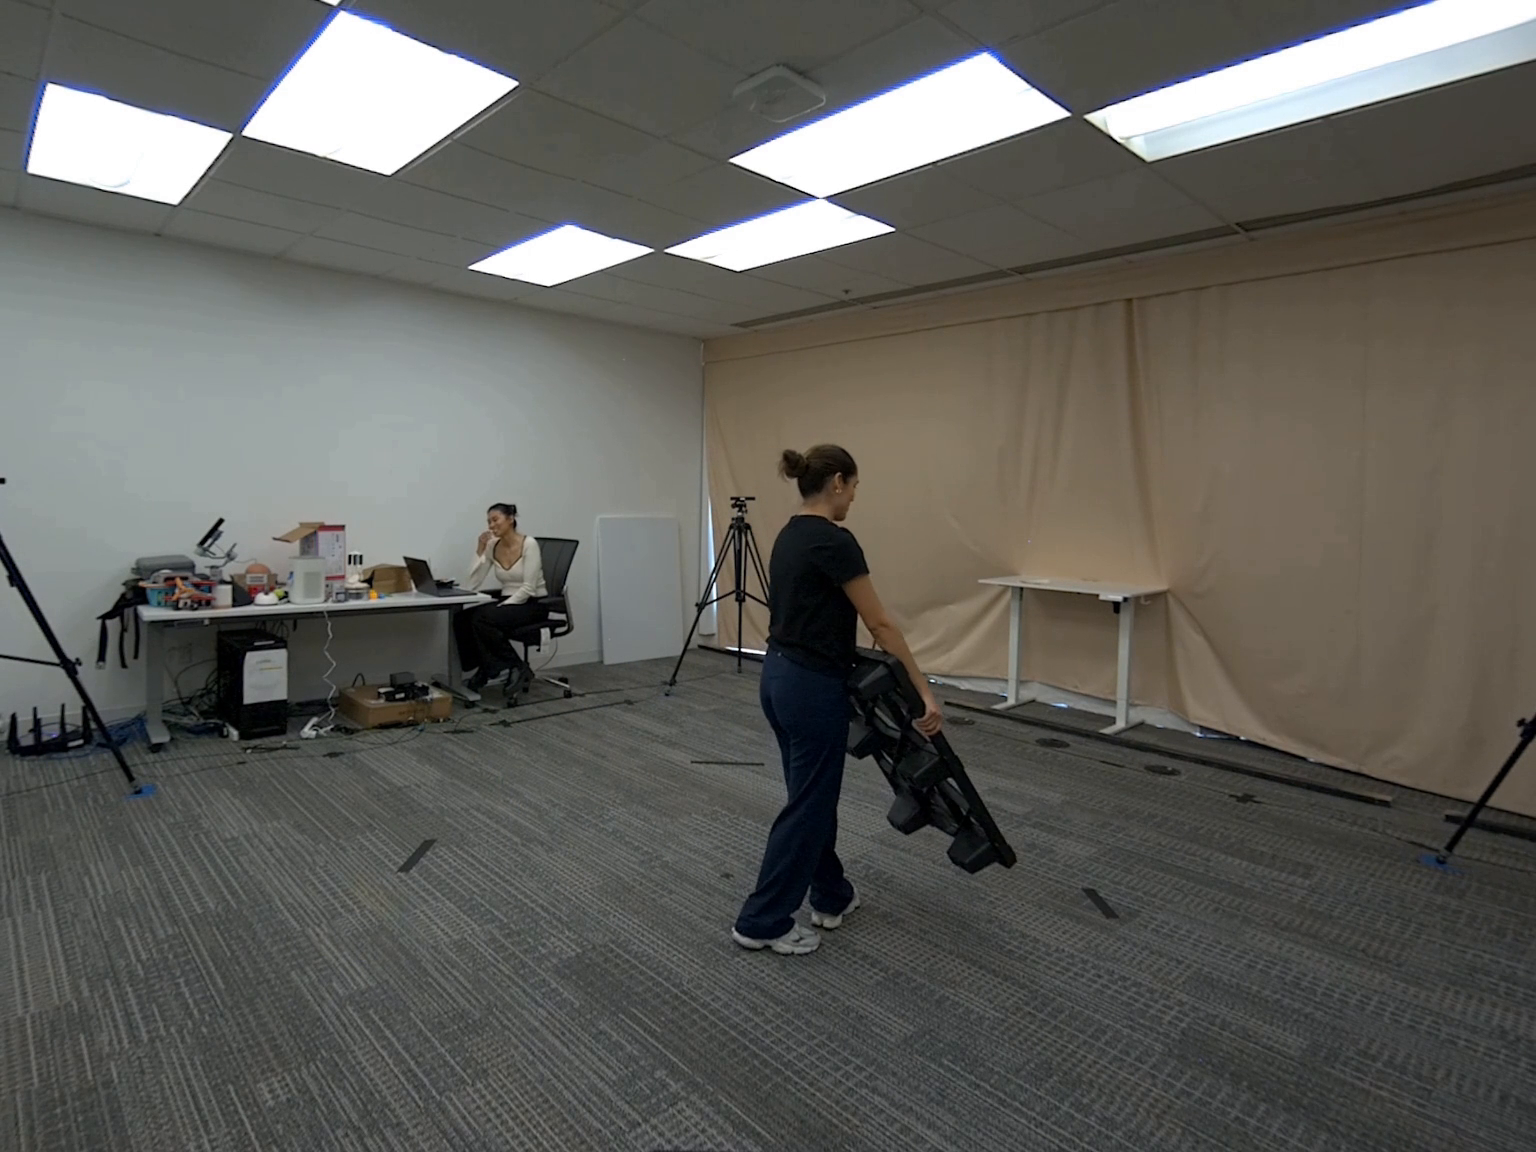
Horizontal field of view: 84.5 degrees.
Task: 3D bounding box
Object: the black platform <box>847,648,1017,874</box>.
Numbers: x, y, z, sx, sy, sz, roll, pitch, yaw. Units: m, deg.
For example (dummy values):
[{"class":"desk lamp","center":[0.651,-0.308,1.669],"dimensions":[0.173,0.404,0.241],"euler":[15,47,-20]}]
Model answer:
[{"class":"black platform","center":[0.404,0.577,2.784],"dimensions":[0.143,0.796,0.615],"euler":[-34,13,-18]}]
